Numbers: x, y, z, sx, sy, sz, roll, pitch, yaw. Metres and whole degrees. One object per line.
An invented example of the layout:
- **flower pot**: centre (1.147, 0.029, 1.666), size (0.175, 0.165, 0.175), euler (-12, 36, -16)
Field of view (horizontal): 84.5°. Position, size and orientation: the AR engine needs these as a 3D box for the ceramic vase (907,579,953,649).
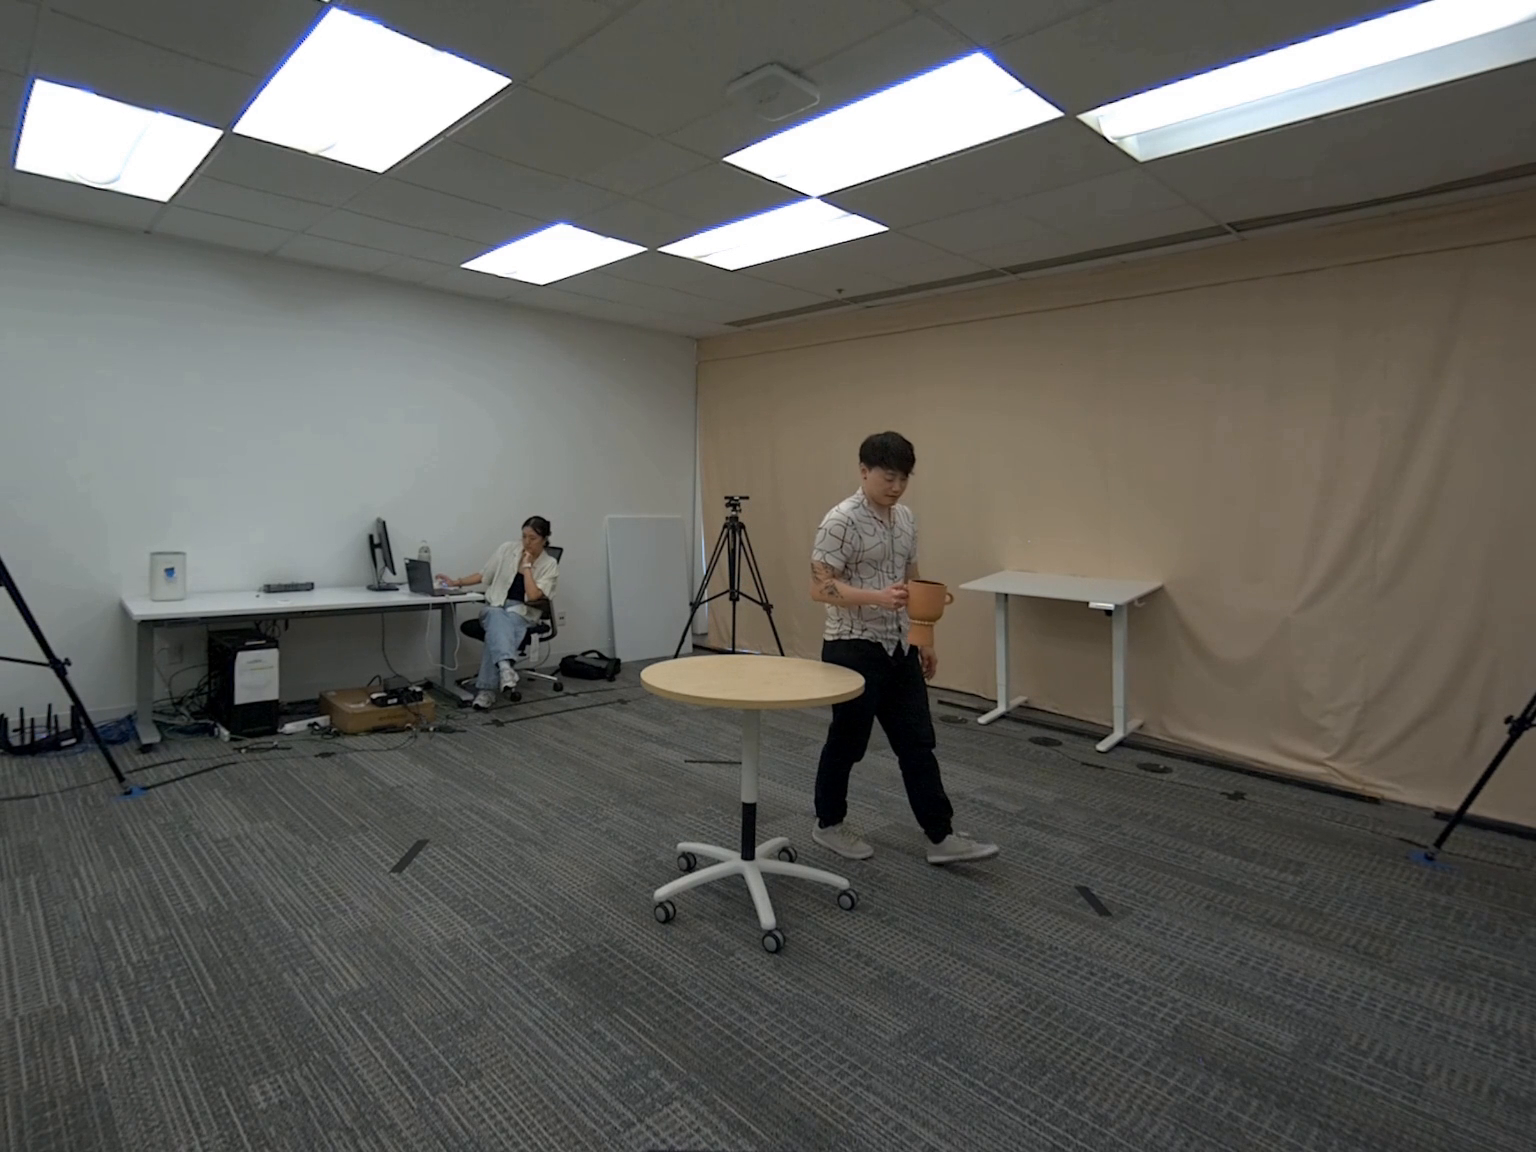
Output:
- **ceramic vase**: centre (0.540, 0.127, 2.963), size (0.163, 0.219, 0.132), euler (11, 7, 32)
